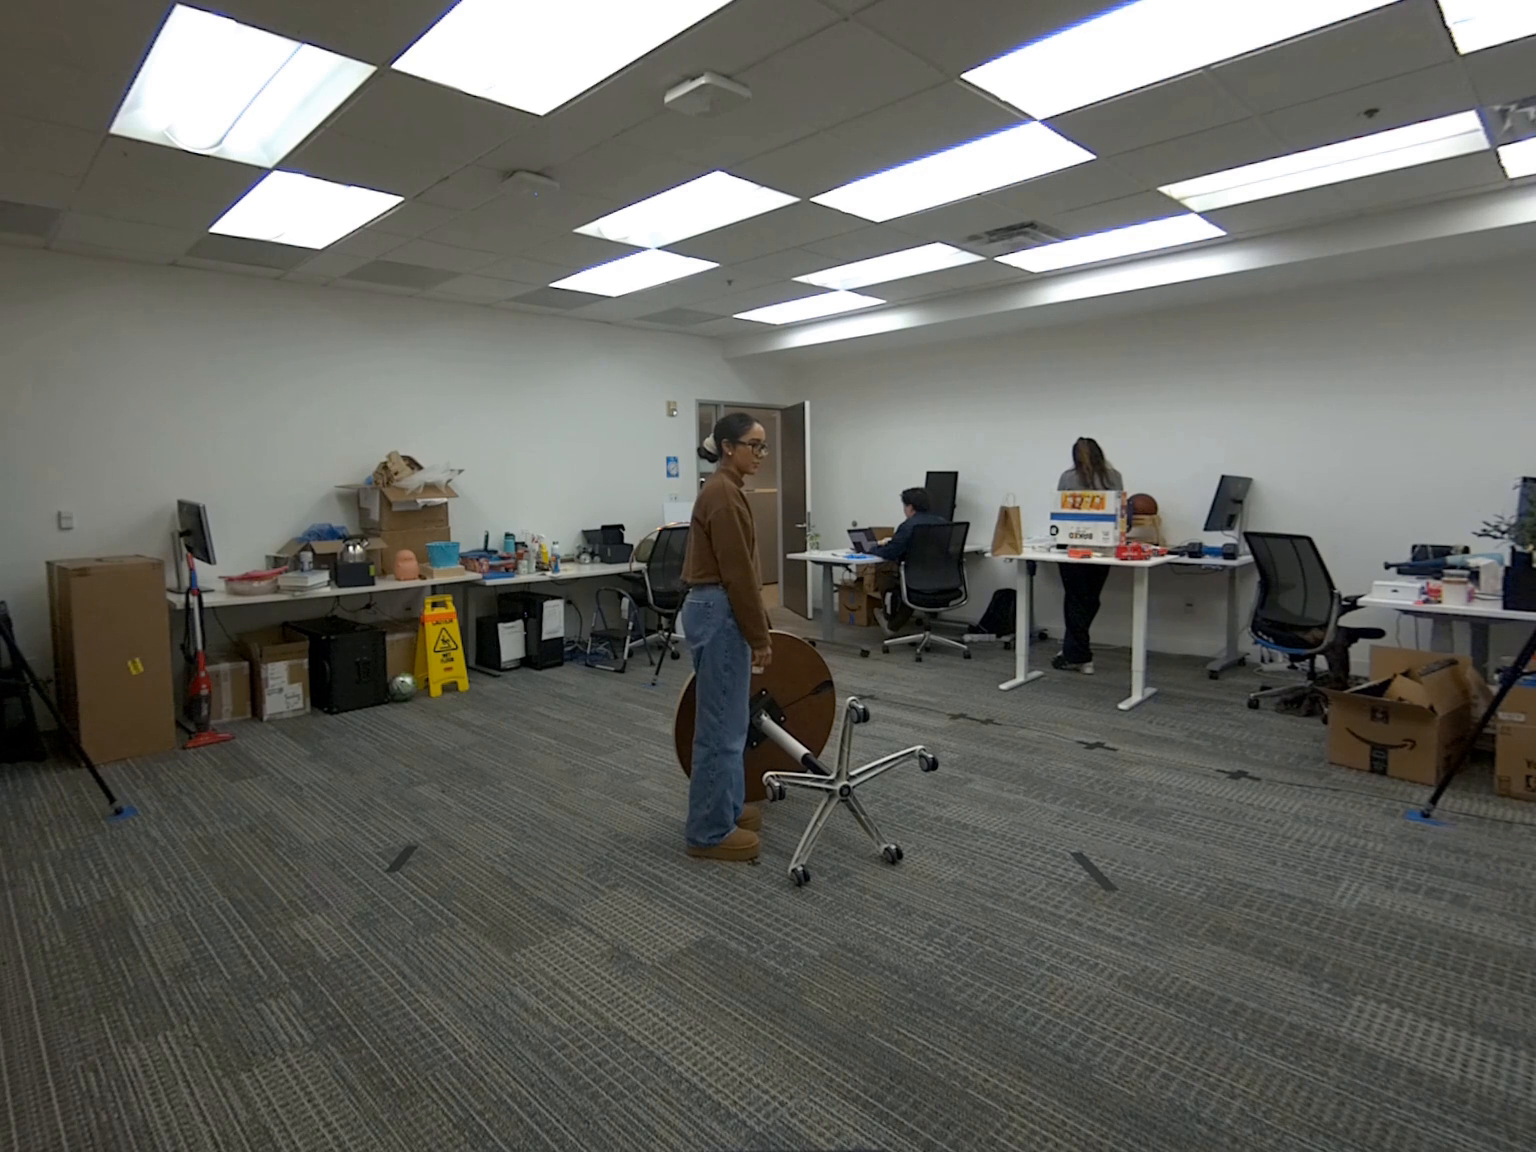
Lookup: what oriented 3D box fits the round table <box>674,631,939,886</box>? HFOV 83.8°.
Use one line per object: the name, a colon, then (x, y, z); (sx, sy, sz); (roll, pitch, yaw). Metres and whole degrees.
round table: (0.132, 0.687, 3.300); (0.748, 0.757, 0.819); (-3, 13, -26)
